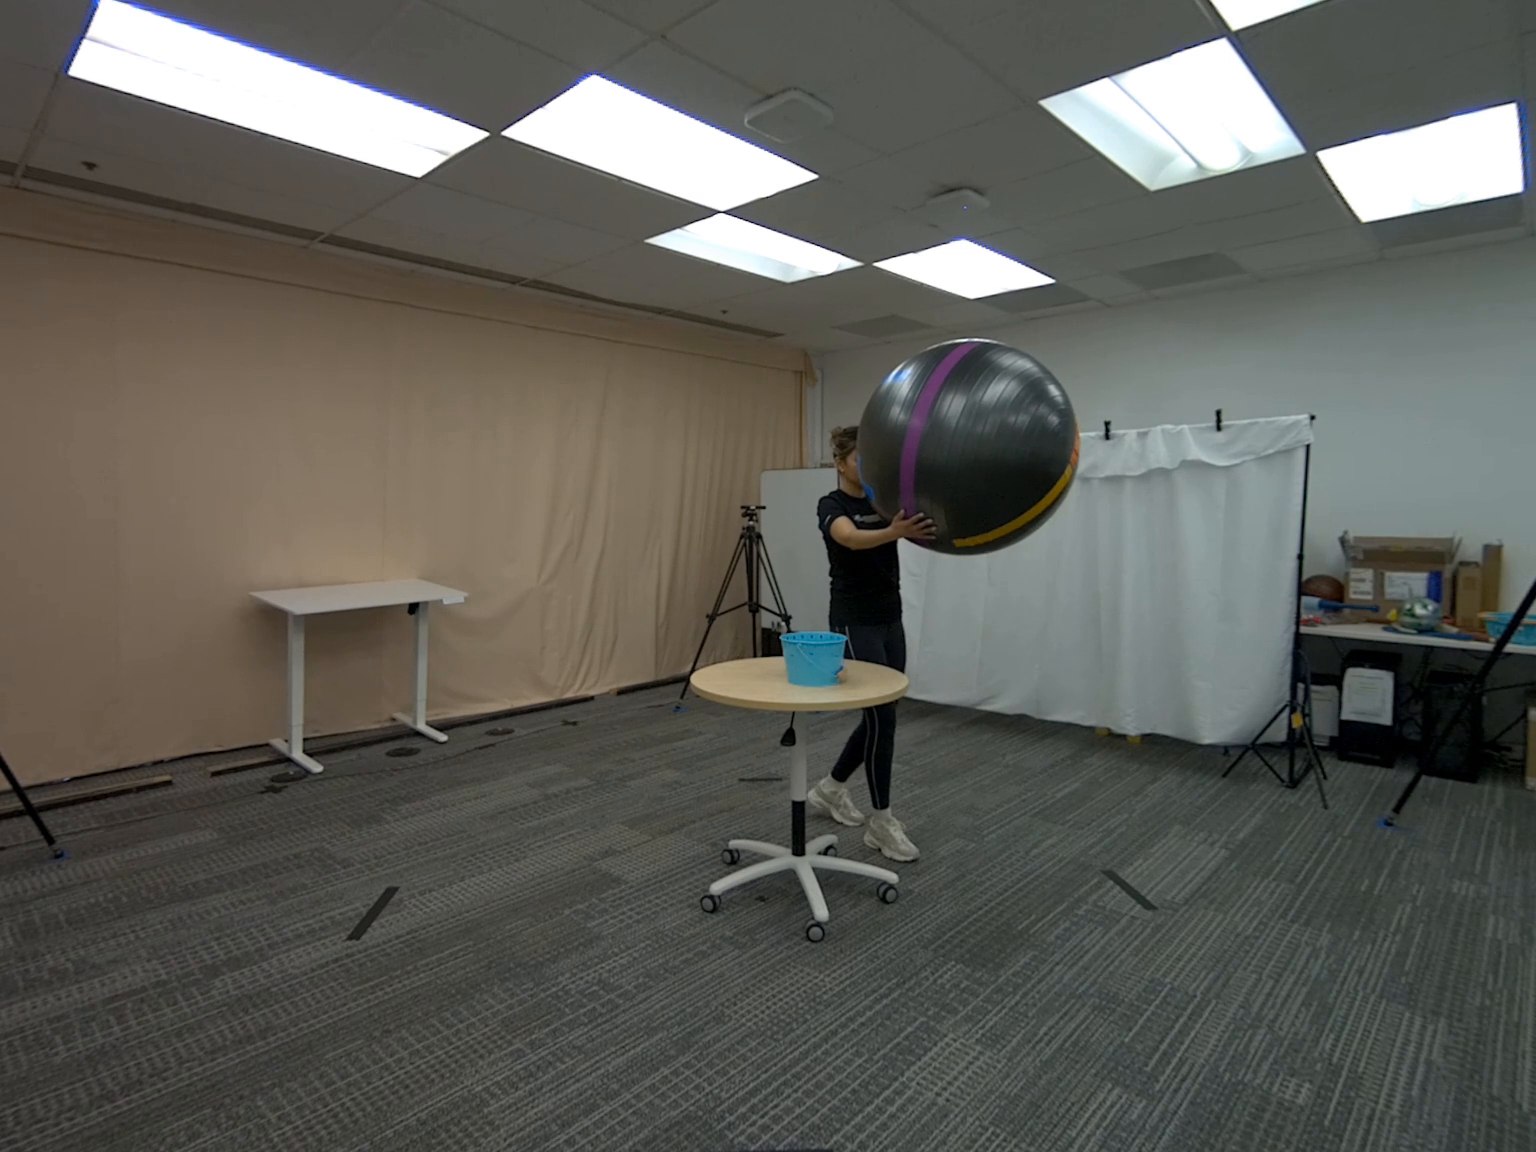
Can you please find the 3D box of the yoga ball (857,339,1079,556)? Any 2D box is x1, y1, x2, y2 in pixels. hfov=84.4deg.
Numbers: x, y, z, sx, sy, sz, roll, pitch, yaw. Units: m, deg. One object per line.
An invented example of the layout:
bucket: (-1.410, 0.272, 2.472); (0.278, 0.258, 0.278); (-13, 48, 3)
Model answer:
yoga ball: (0.705, -0.443, 2.992); (0.757, 0.756, 0.761); (0, 4, -2)
